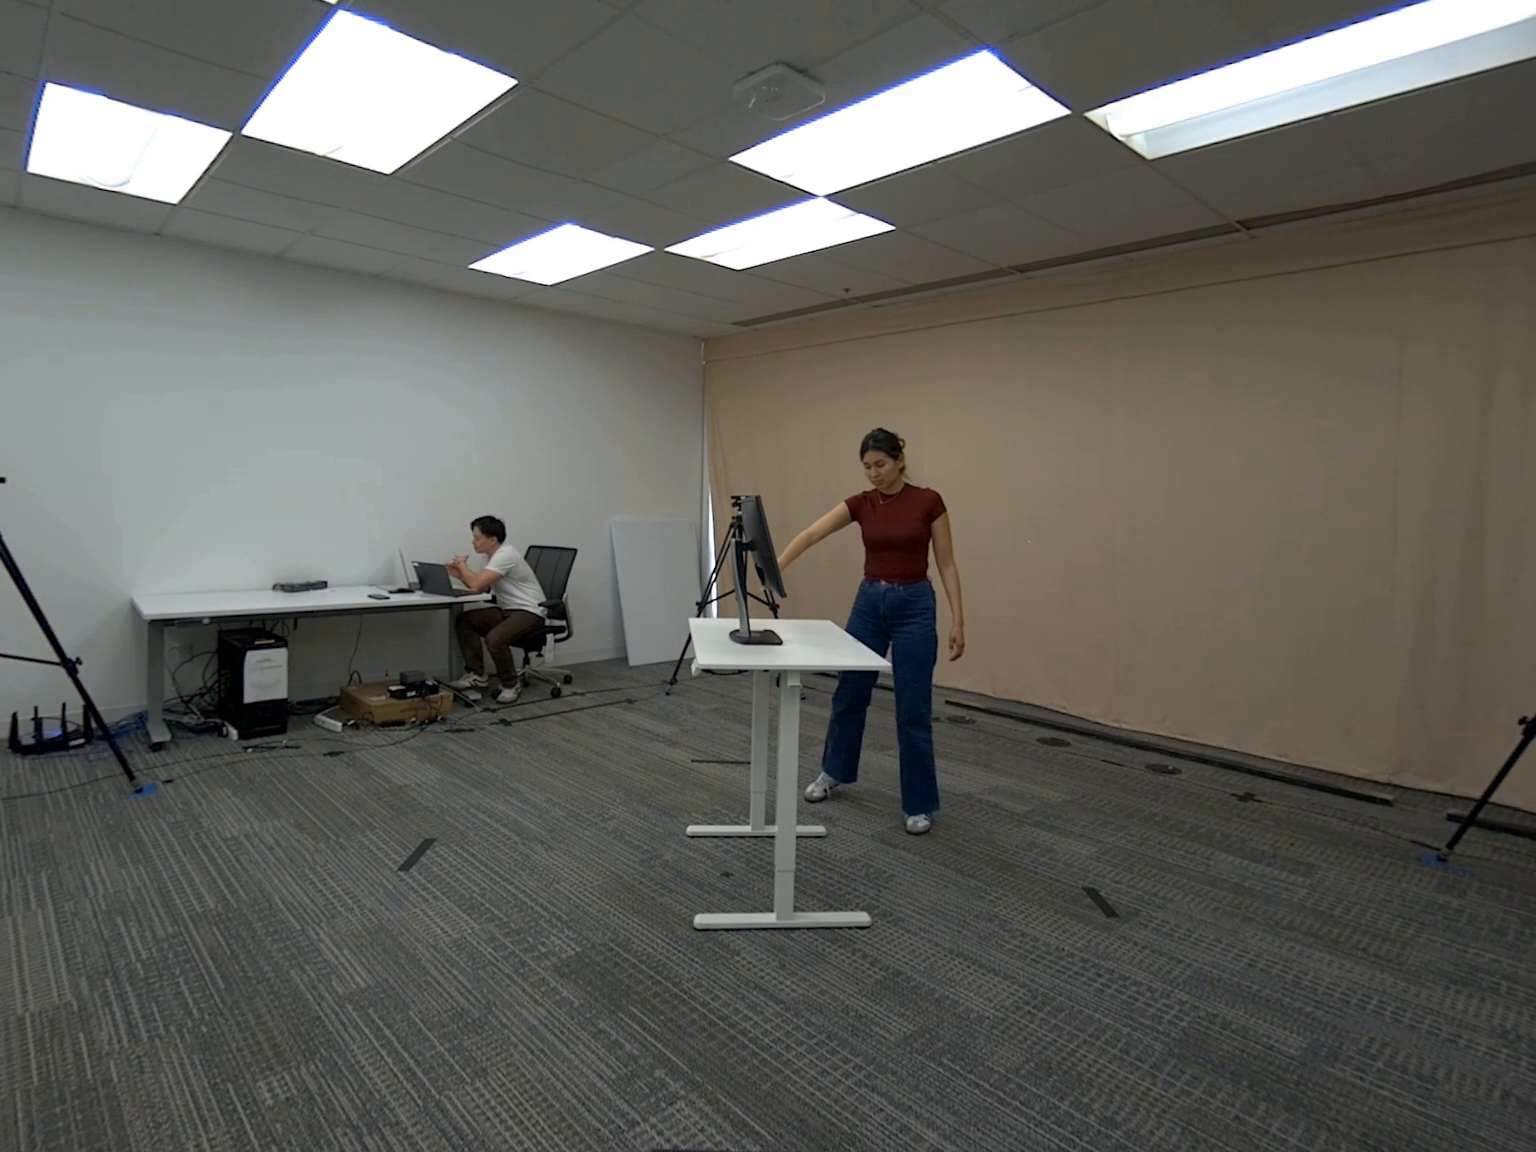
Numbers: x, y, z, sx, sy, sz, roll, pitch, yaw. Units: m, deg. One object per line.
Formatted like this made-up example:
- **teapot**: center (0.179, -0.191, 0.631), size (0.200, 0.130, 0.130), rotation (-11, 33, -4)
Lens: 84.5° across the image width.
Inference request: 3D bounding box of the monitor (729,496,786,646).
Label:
- **monitor**: center (-0.059, -0.025, 3.032), size (0.186, 0.521, 0.544), rotation (-1, 4, -9)
